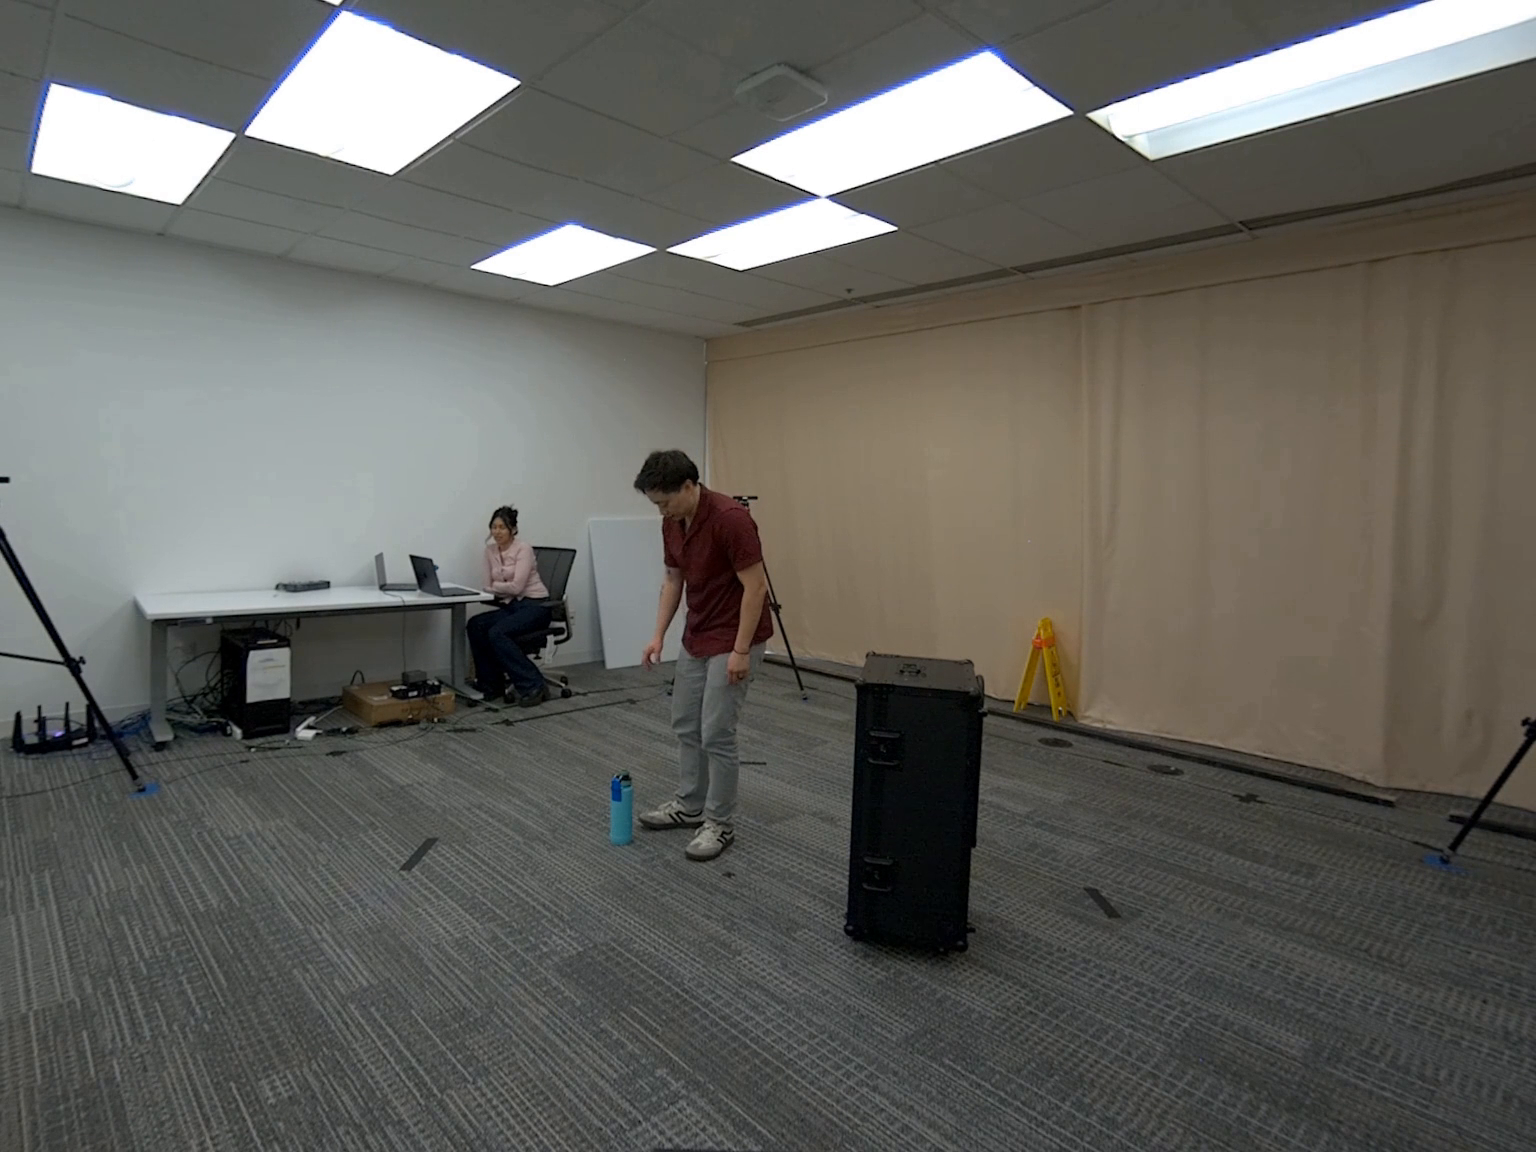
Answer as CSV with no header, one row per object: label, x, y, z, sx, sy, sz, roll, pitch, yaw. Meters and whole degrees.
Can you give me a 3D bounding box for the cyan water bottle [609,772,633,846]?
cyan water bottle,-0.590,0.922,3.379,0.092,0.283,0.092,2,3,-2
